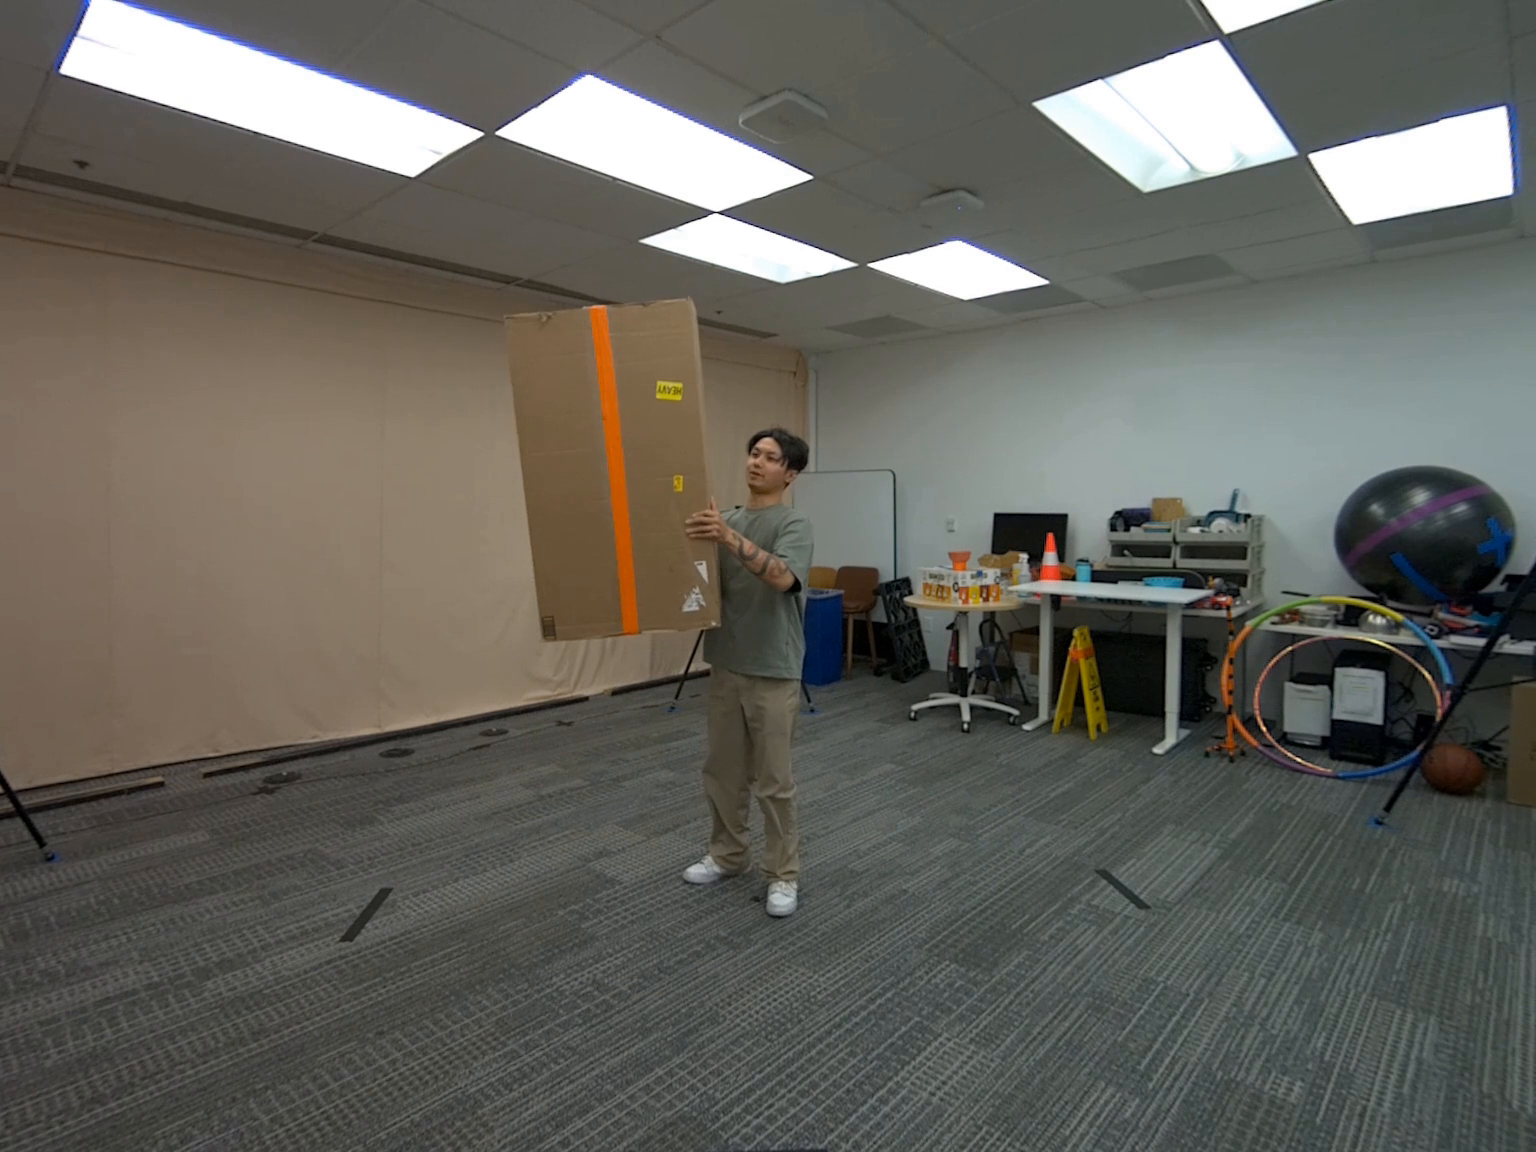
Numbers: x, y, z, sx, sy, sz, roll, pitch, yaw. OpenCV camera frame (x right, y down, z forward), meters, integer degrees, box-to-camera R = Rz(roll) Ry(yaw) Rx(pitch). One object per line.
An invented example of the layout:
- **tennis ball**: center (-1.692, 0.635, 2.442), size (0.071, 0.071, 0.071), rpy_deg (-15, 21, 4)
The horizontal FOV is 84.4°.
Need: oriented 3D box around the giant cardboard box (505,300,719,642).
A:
- **giant cardboard box**: center (-0.485, -0.345, 2.805), size (0.577, 1.019, 0.429), rpy_deg (-5, 9, -1)
